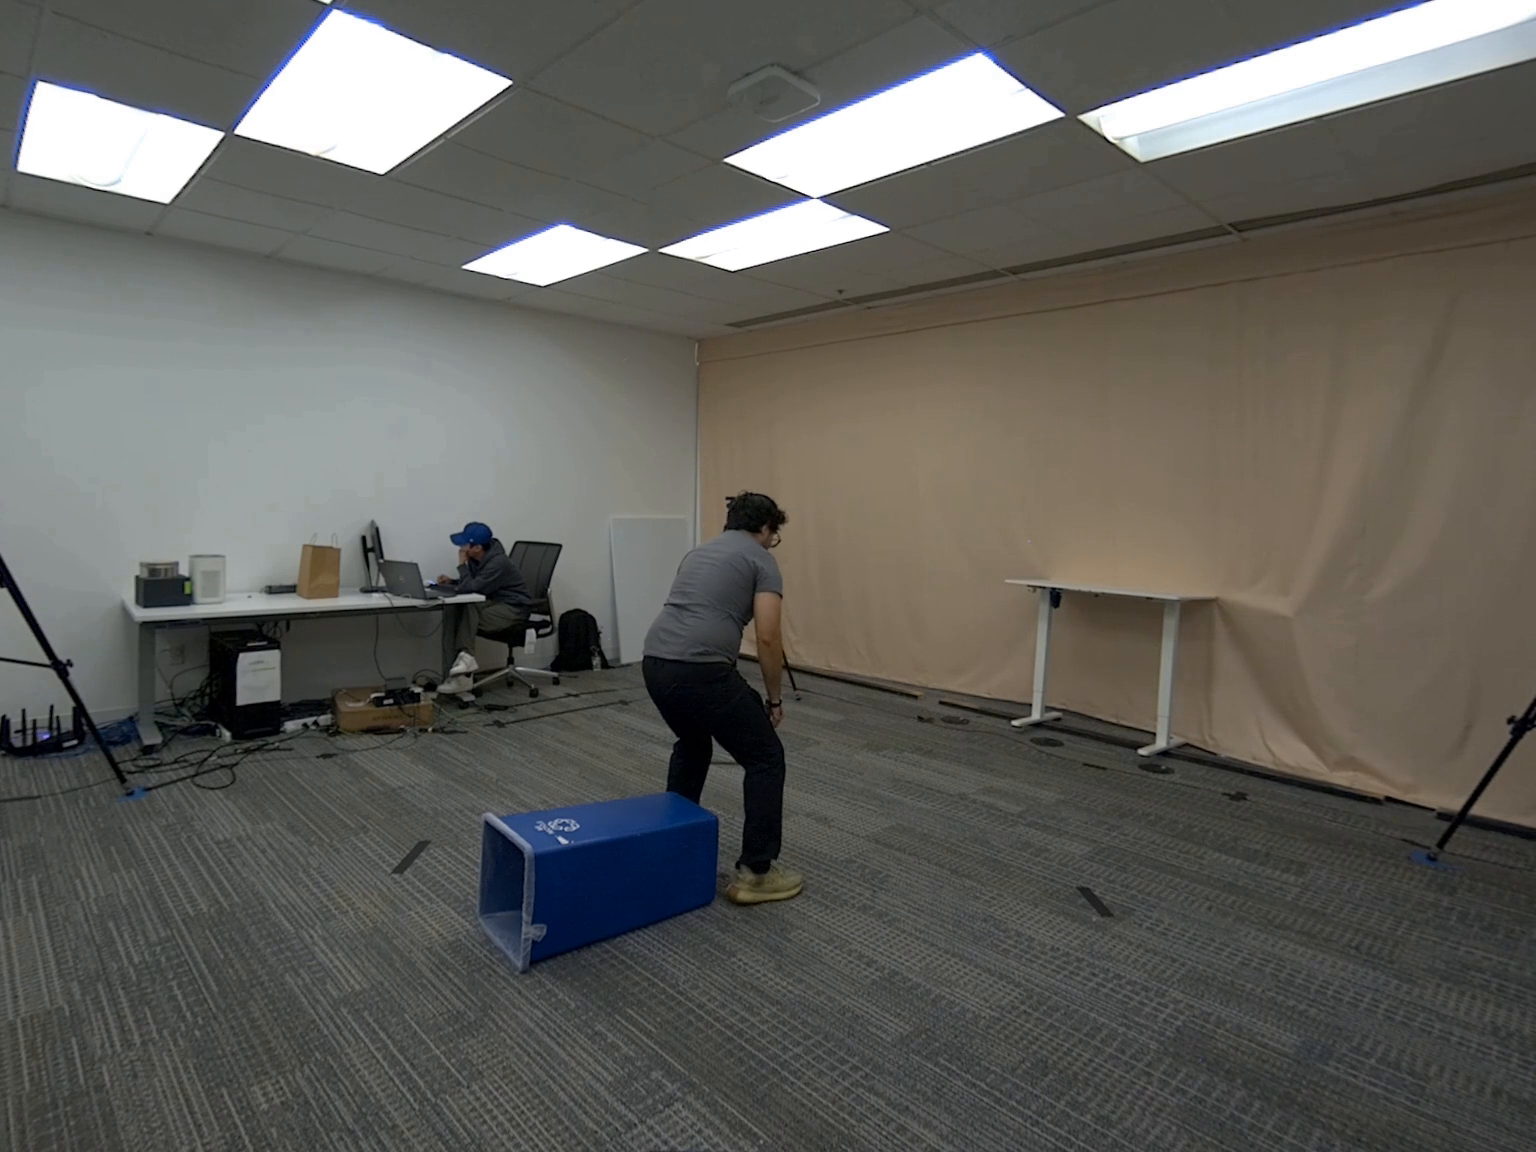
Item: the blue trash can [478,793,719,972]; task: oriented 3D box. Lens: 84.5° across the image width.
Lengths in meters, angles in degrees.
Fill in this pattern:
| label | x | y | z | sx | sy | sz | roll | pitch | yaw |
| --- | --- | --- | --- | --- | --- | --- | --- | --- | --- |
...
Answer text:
| label | x | y | z | sx | sy | sz | roll | pitch | yaw |
| --- | --- | --- | --- | --- | --- | --- | --- | --- | --- |
| blue trash can | -0.551 | 0.952 | 2.777 | 0.697 | 0.373 | 0.387 | 0 | 4 | -38 |
